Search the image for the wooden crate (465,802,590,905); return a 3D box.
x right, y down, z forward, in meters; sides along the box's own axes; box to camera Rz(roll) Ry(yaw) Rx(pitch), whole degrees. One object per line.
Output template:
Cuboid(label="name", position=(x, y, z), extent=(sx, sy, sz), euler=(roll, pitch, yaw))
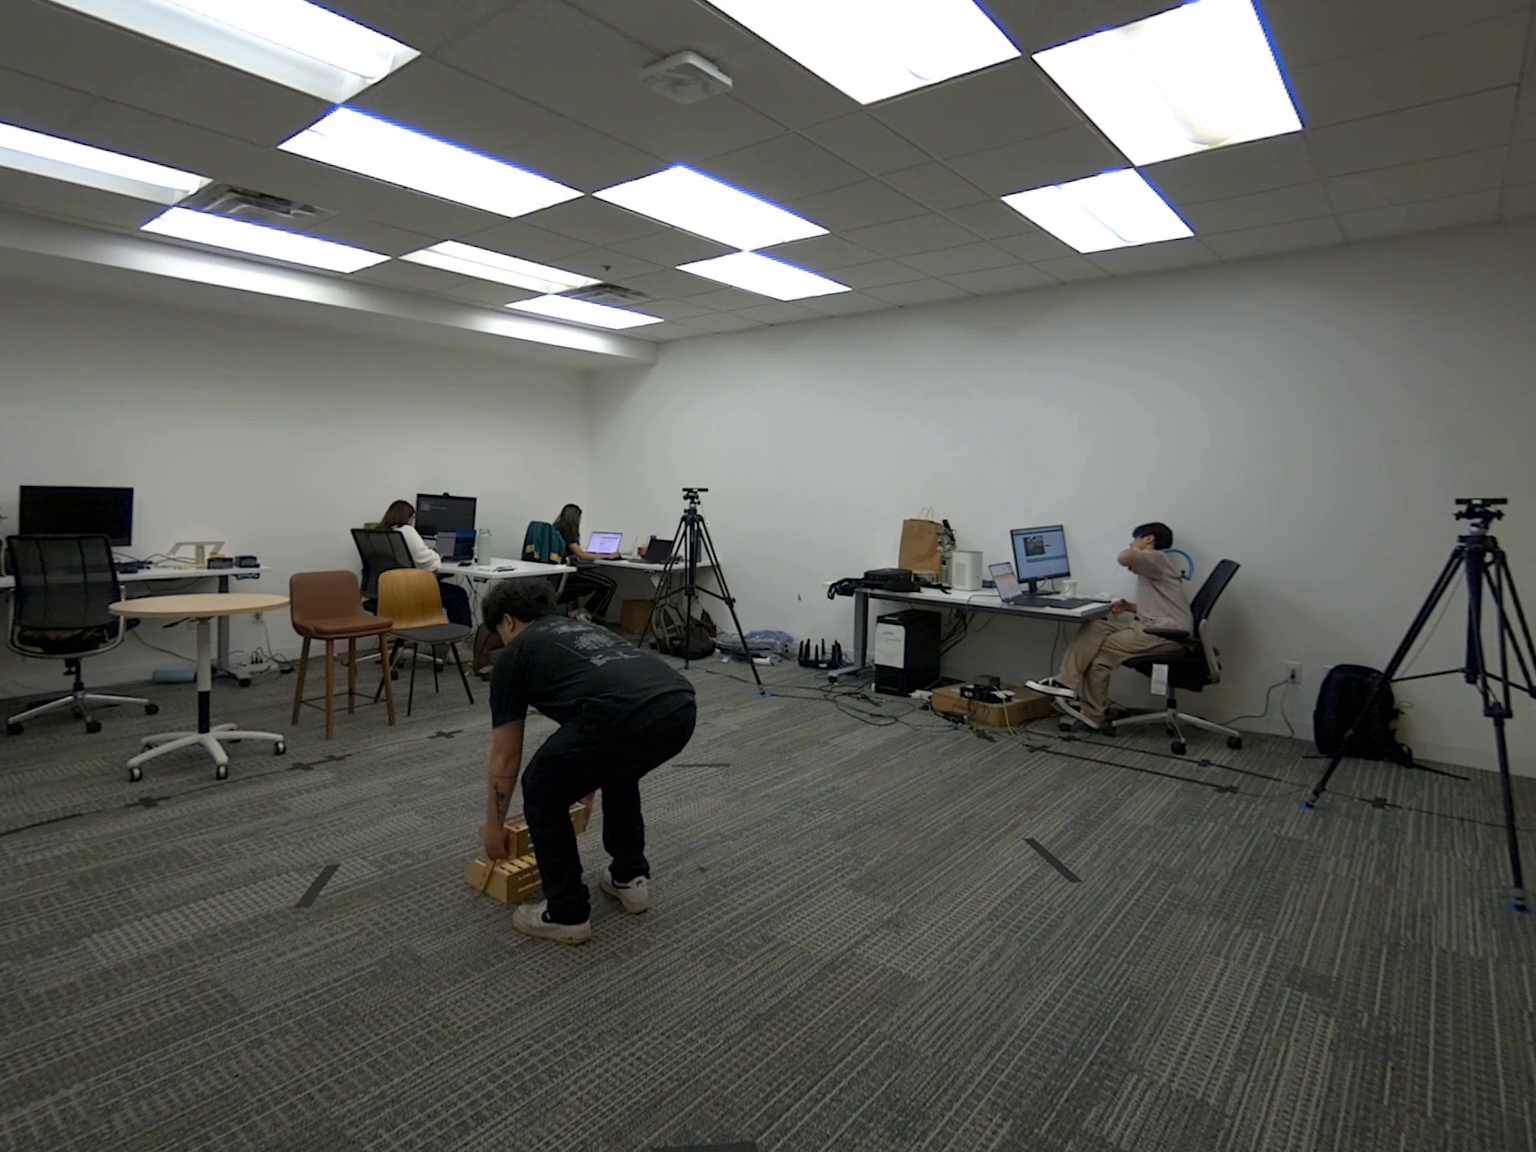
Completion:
Cuboid(label="wooden crate", position=(-0.869, 0.935, 2.991), extent=(0.312, 0.272, 0.315), euler=(6, 7, 36))
